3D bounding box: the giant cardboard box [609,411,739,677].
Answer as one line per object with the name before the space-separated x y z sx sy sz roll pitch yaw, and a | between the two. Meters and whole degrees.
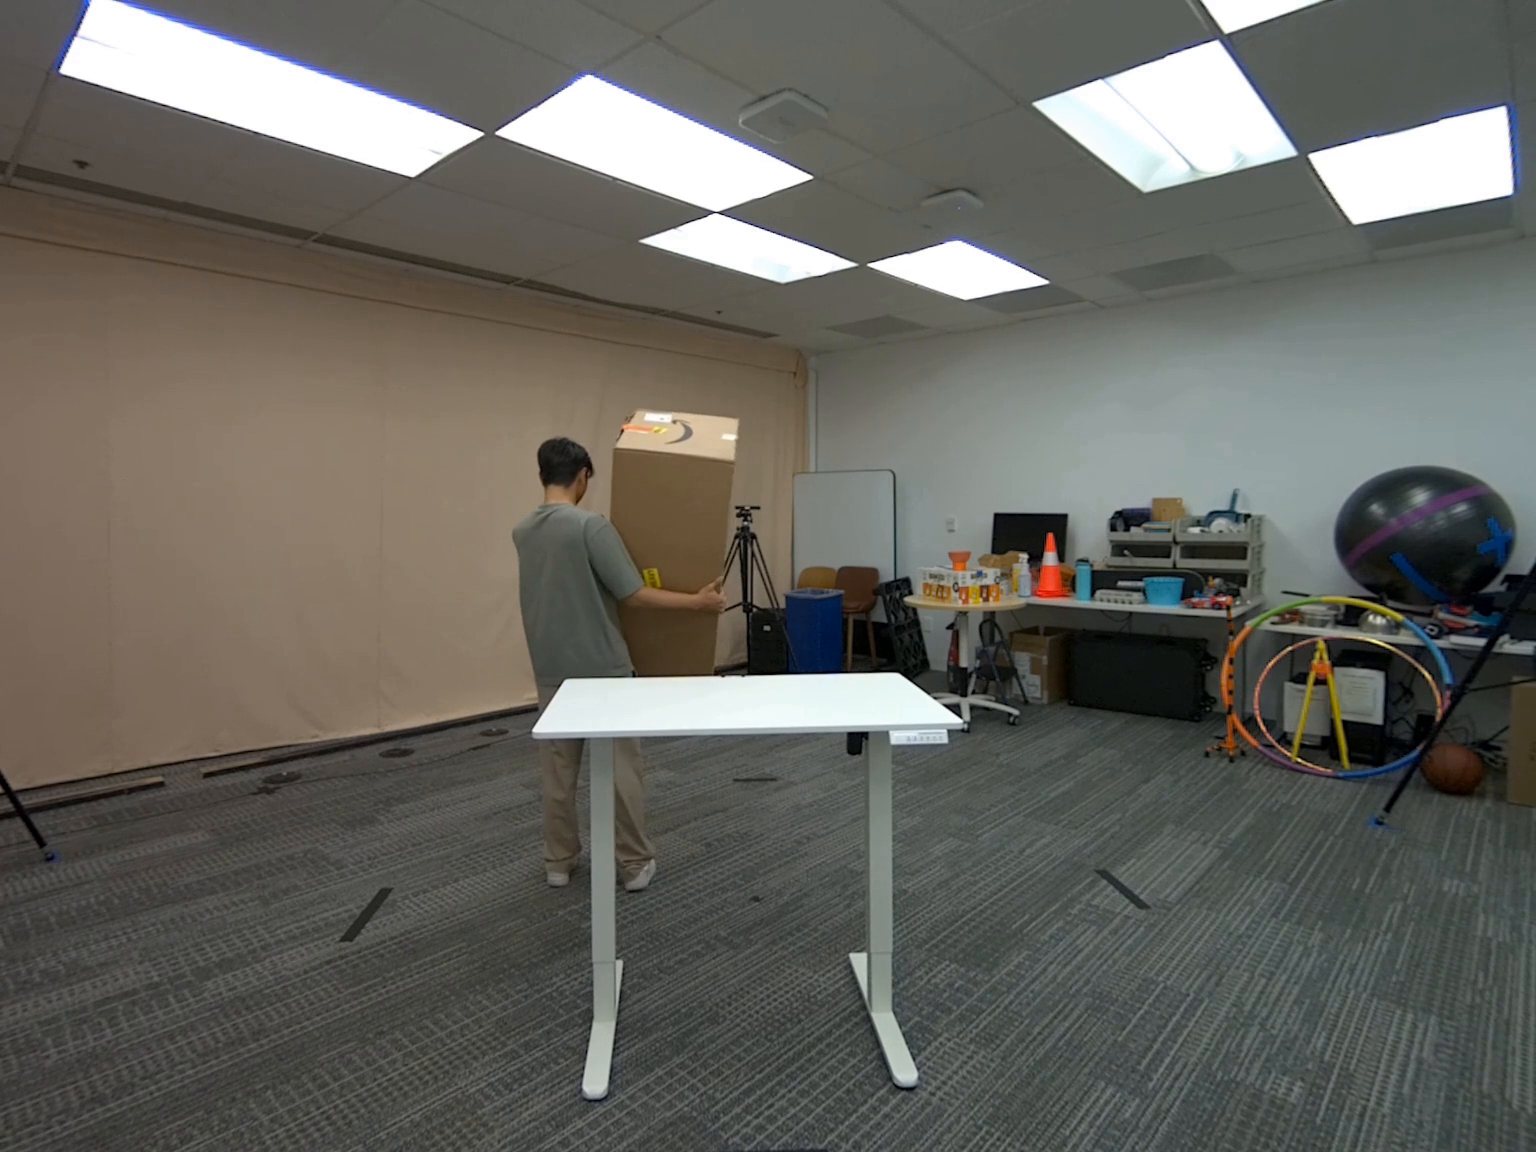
giant cardboard box | -0.374 -0.077 3.331 0.426 1.015 0.584 6 23 -2
